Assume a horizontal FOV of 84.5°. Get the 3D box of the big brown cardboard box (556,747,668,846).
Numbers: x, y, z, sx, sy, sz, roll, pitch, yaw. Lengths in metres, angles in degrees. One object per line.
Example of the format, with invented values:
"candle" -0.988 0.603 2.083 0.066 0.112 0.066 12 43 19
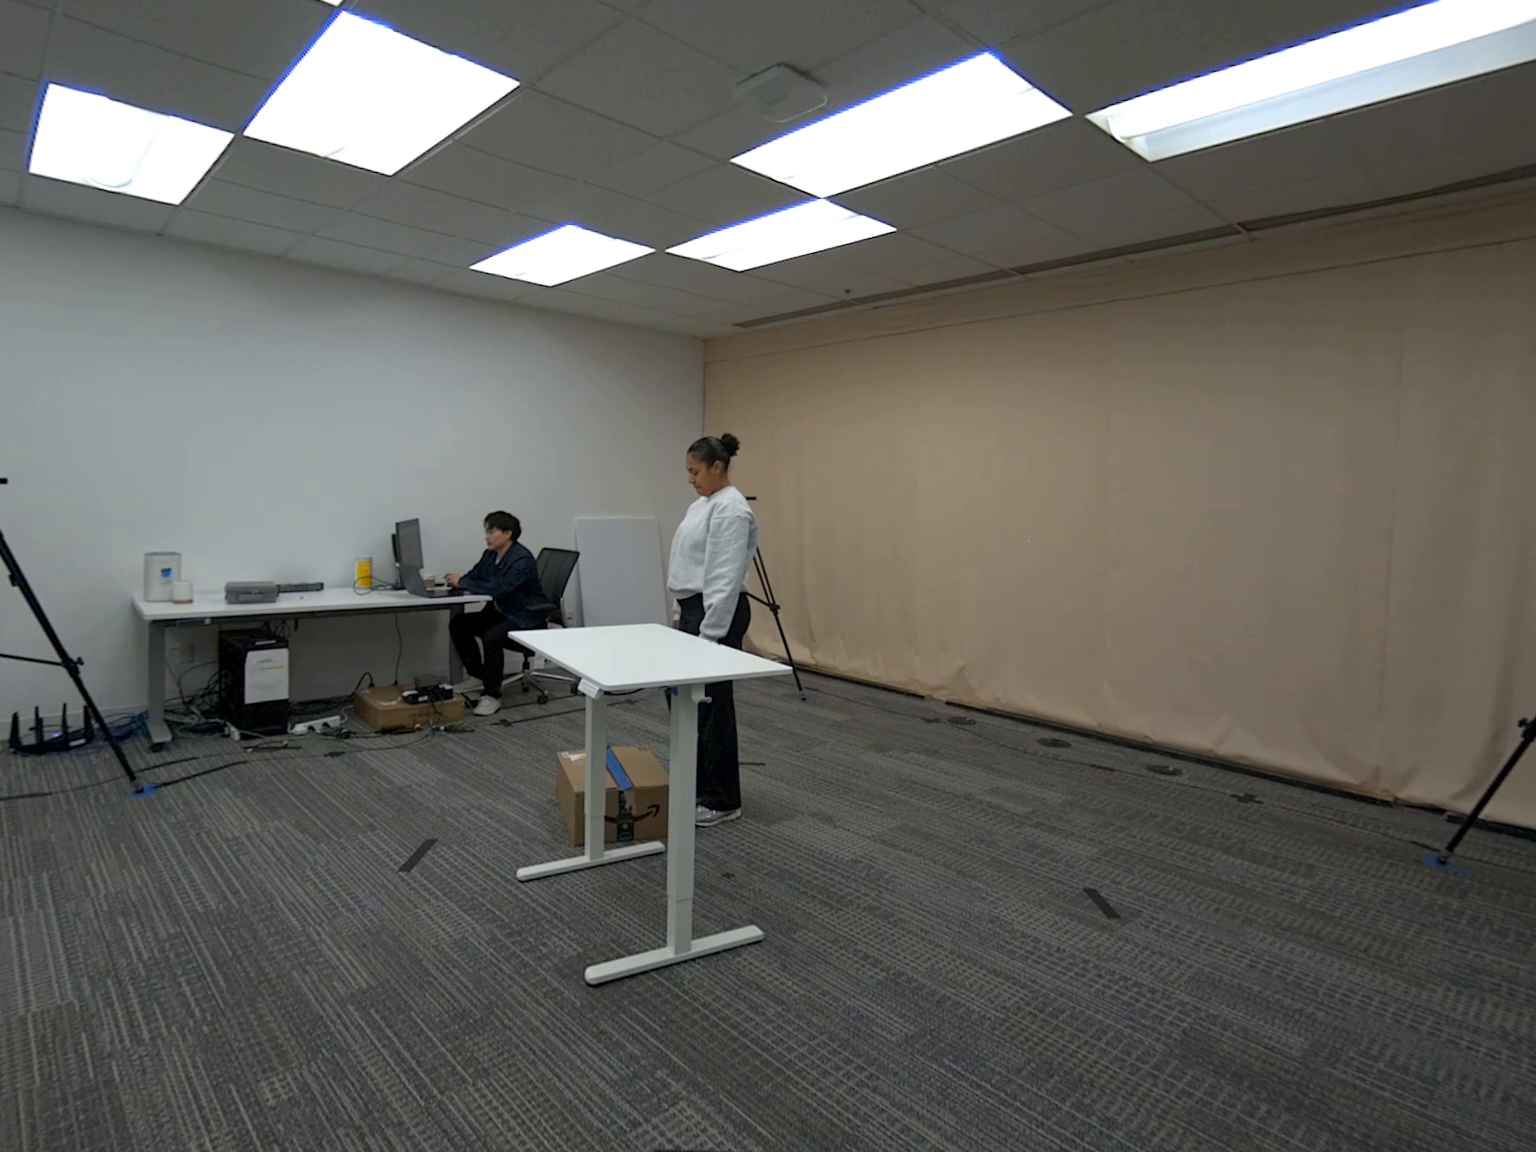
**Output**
"big brown cardboard box" -0.684 0.935 3.653 0.411 0.232 0.600 0 6 -21
